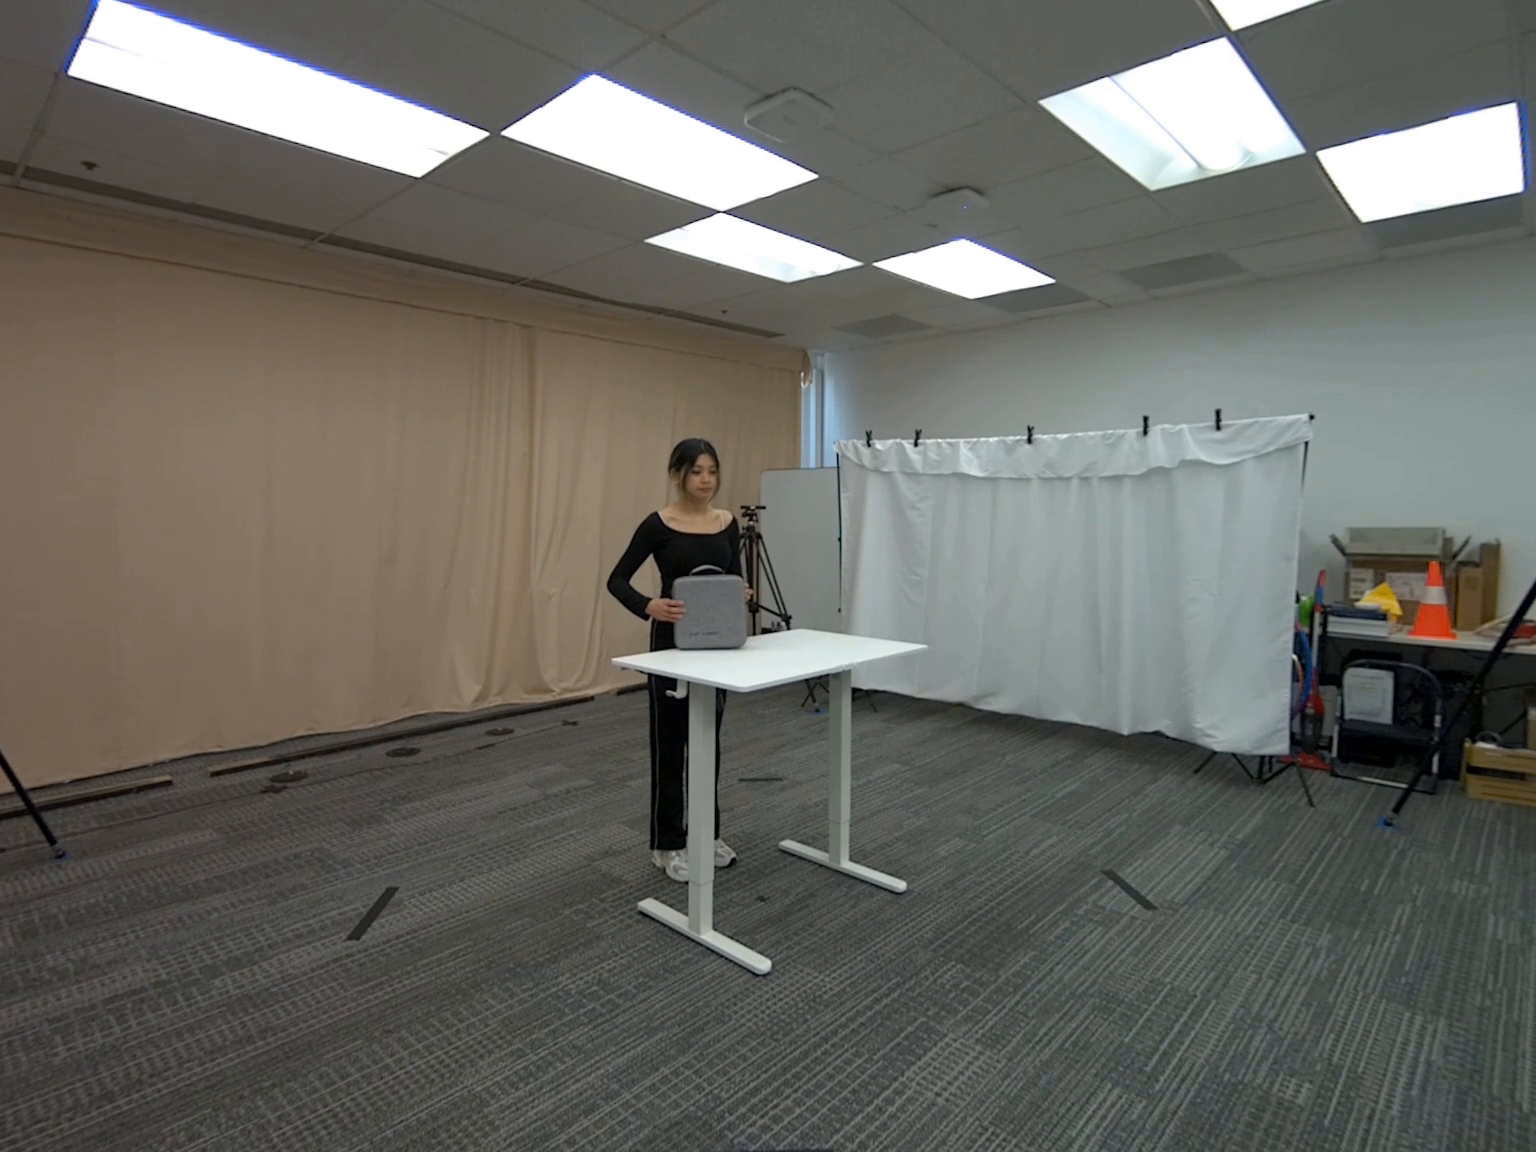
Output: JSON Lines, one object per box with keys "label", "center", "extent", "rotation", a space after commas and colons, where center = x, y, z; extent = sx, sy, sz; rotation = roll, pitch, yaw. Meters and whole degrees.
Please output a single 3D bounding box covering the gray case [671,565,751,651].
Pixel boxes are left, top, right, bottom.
{"label": "gray case", "center": [-0.216, 0.126, 3.000], "extent": [0.255, 0.261, 0.105], "rotation": [-1, -1, -6]}
